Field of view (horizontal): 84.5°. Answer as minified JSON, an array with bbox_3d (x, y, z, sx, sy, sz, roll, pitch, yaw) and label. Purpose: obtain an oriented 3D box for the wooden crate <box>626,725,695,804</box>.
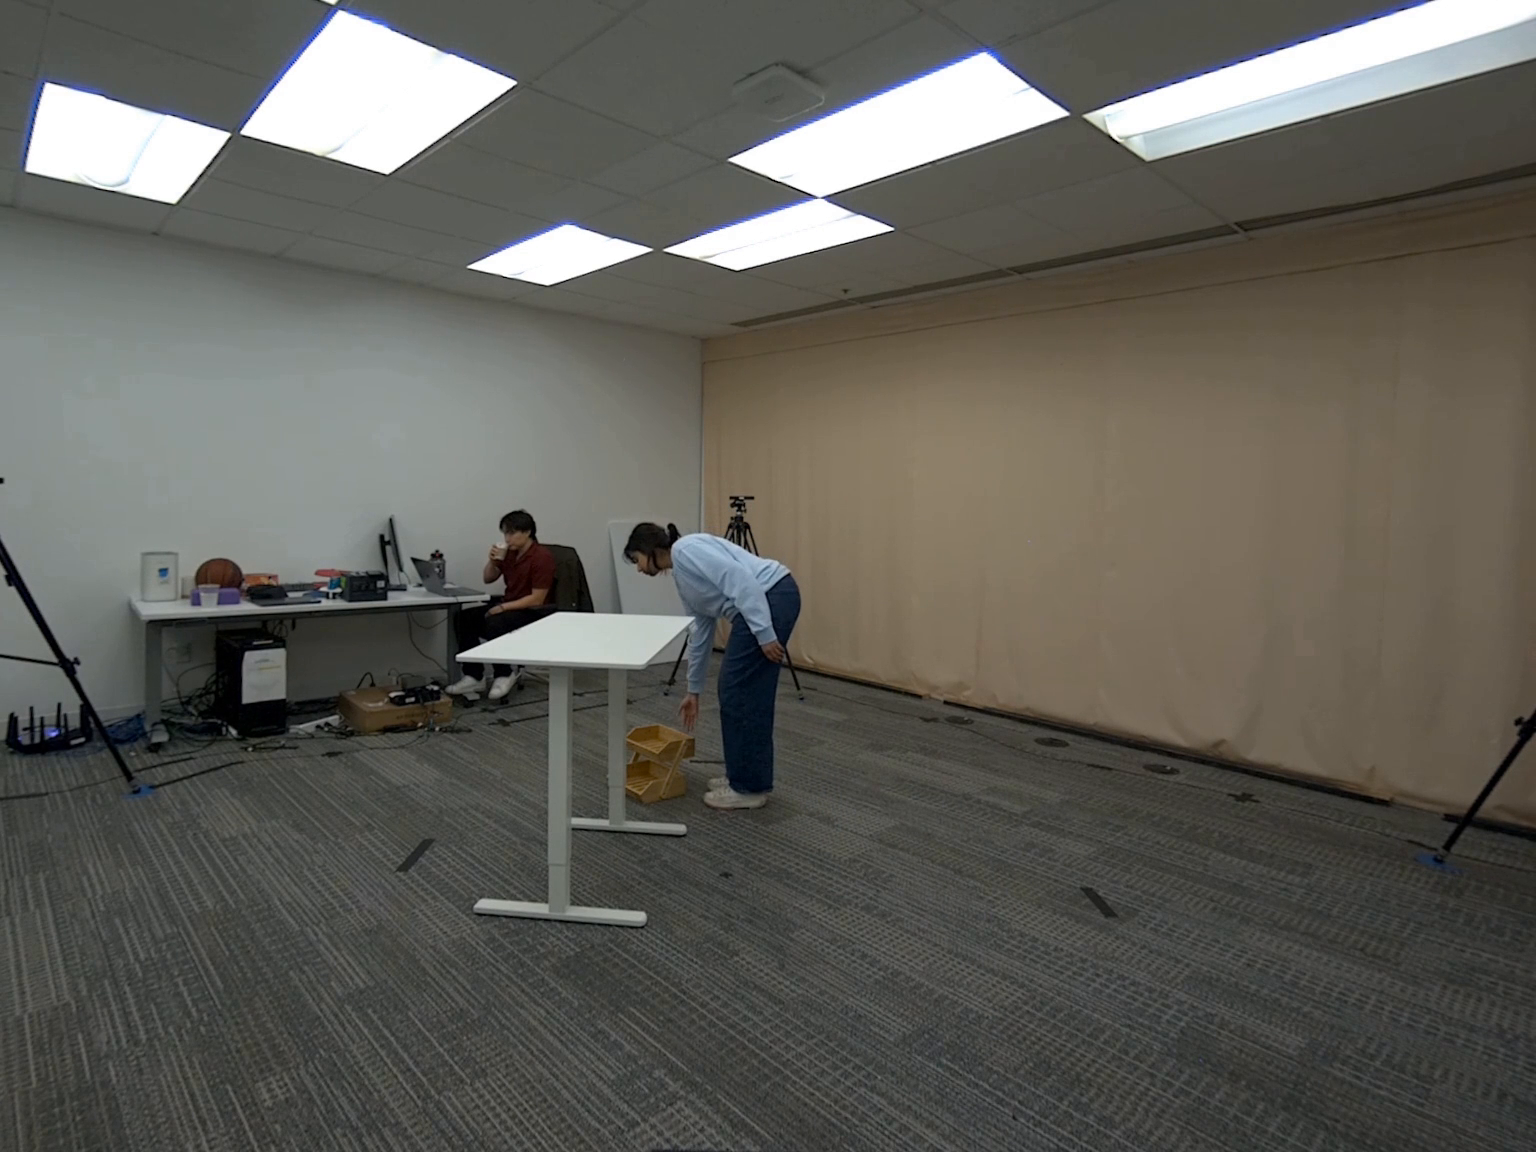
[{"bbox_3d":[-0.564,0.872,3.997,0.295,0.273,0.333,-1,5,-41],"label":"wooden crate"}]
